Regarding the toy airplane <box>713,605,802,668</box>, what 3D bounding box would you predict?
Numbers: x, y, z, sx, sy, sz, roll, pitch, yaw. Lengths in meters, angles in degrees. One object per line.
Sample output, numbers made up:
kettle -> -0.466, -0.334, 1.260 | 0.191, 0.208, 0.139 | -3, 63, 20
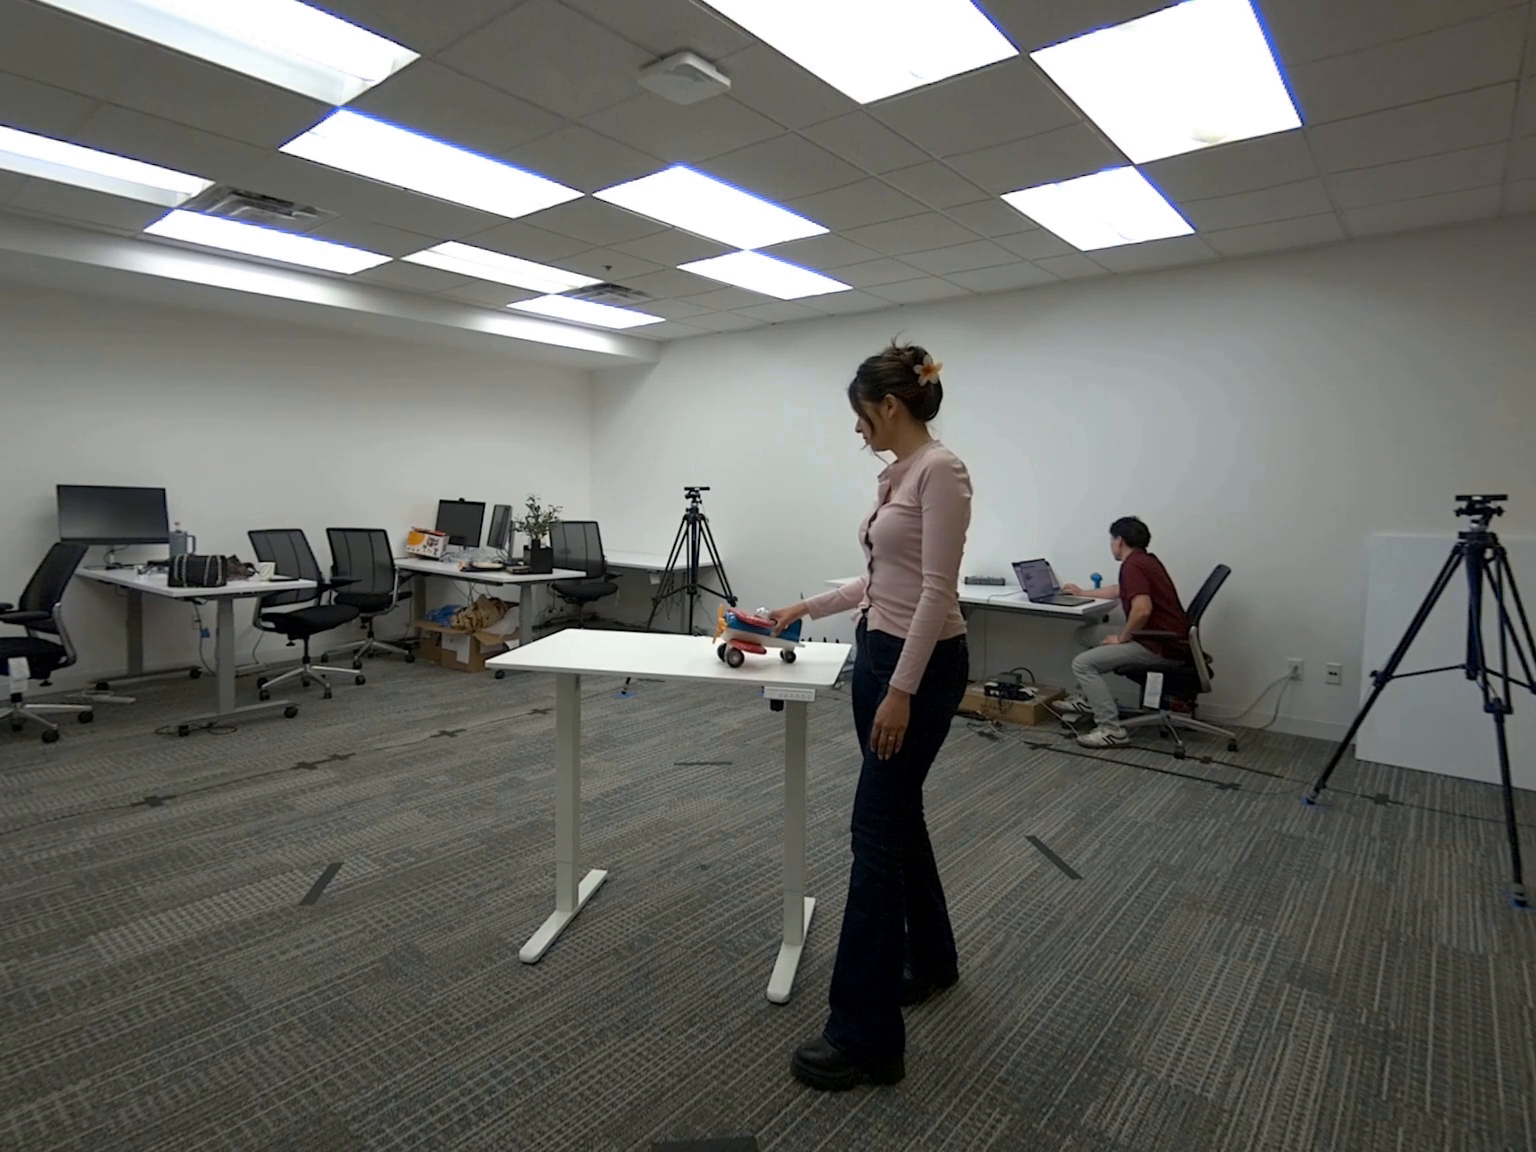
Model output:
toy airplane -> -0.044, 0.172, 2.483 | 0.251, 0.156, 0.260 | -5, 8, -43
